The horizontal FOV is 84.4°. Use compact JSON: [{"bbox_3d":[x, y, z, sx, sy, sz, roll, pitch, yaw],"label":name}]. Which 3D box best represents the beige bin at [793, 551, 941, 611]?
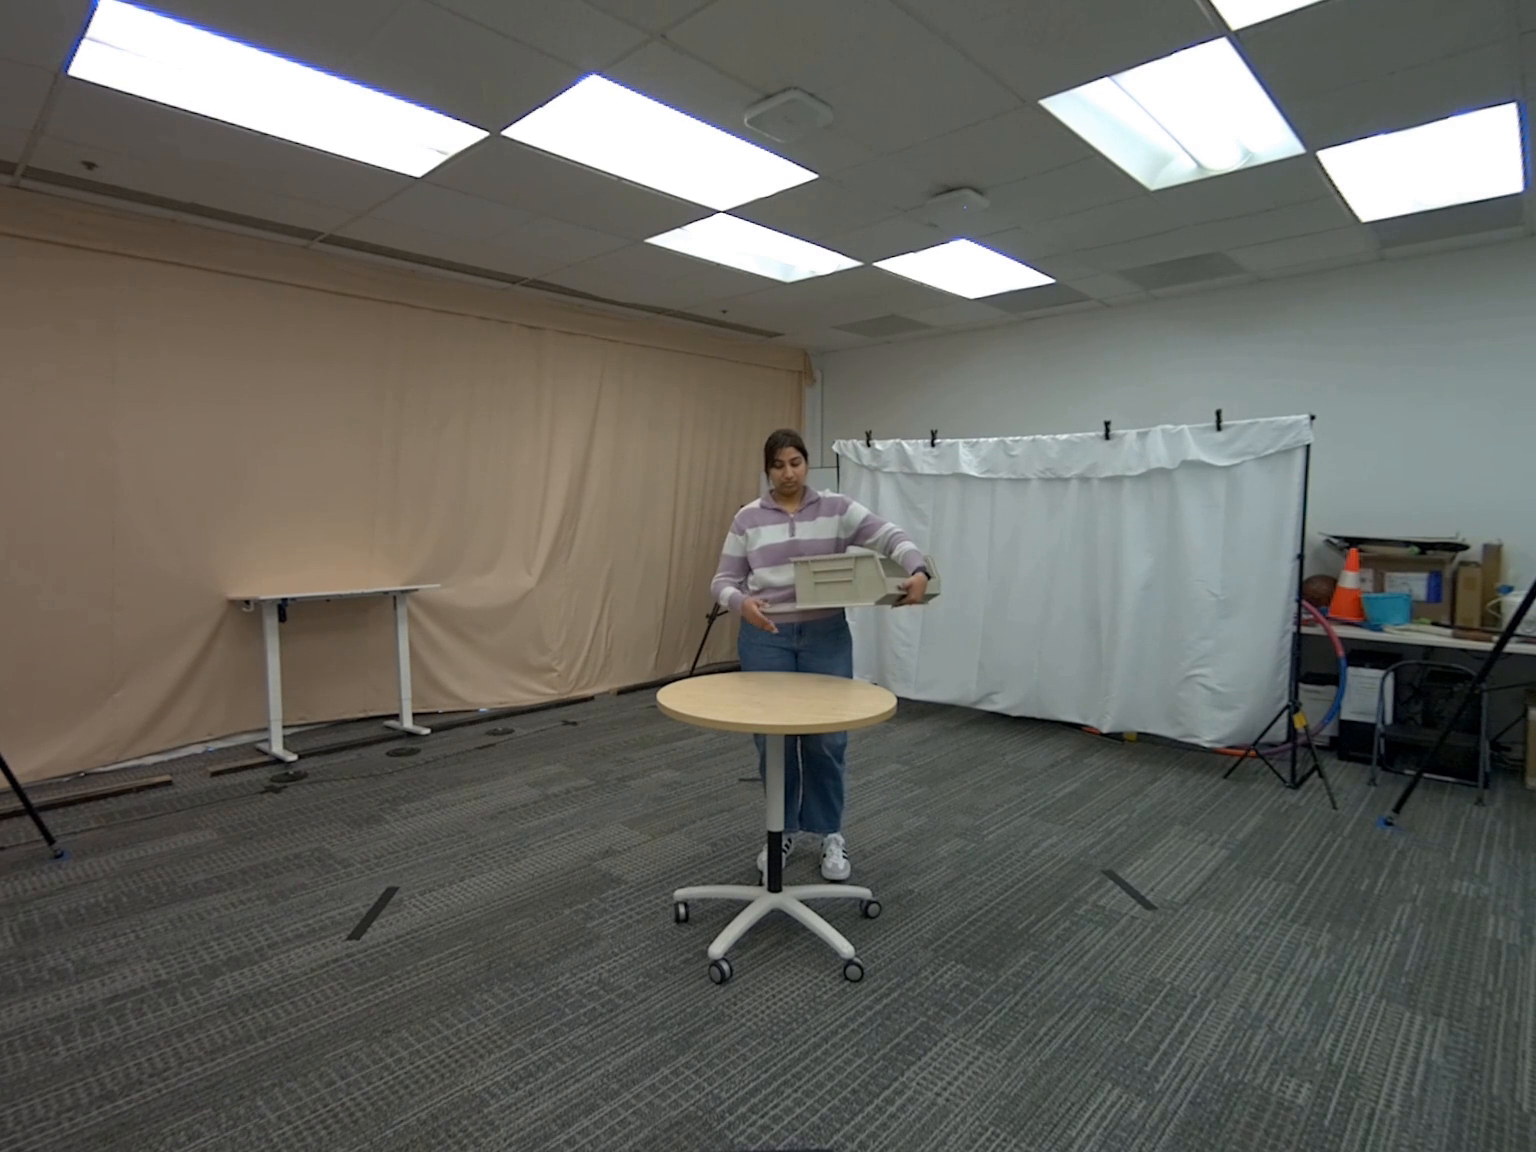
[{"bbox_3d":[0.358,0.015,3.018,0.388,0.189,0.409,-6,-2,38],"label":"beige bin"}]
